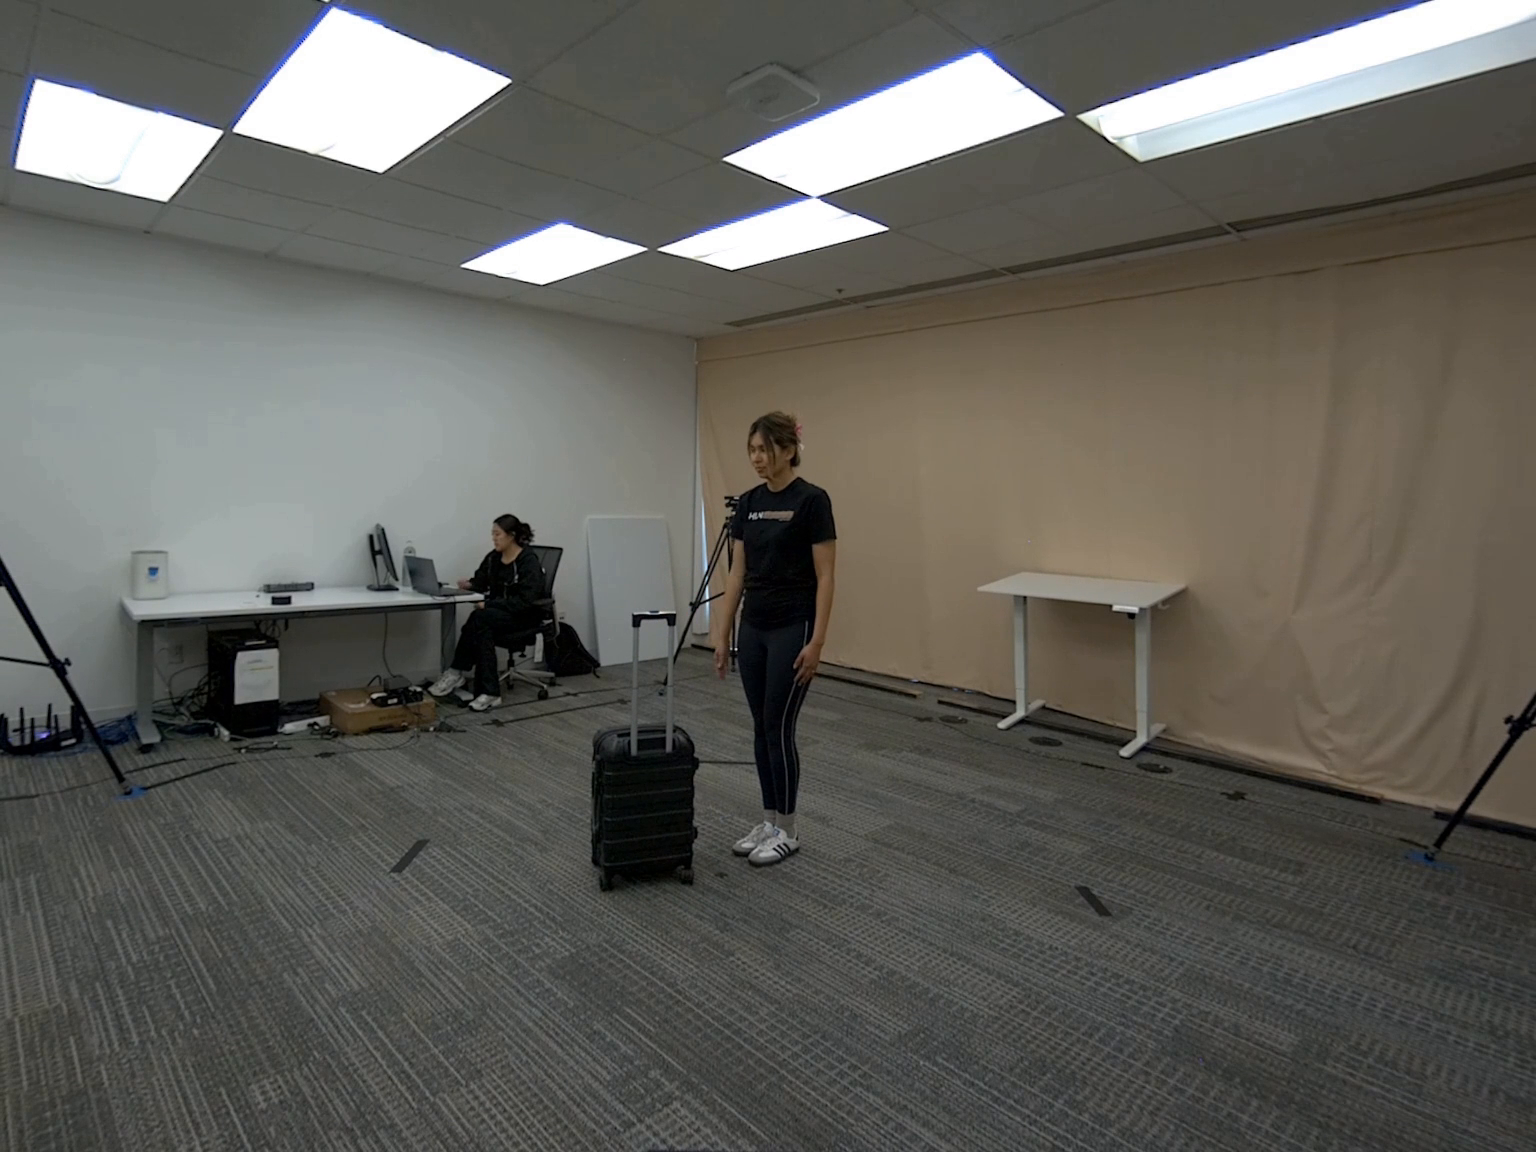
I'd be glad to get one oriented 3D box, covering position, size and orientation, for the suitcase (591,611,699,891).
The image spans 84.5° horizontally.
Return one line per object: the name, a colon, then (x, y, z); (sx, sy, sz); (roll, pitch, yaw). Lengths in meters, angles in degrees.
suitcase: (-0.463, 0.626, 3.071); (0.379, 0.977, 0.261); (2, 2, -17)
